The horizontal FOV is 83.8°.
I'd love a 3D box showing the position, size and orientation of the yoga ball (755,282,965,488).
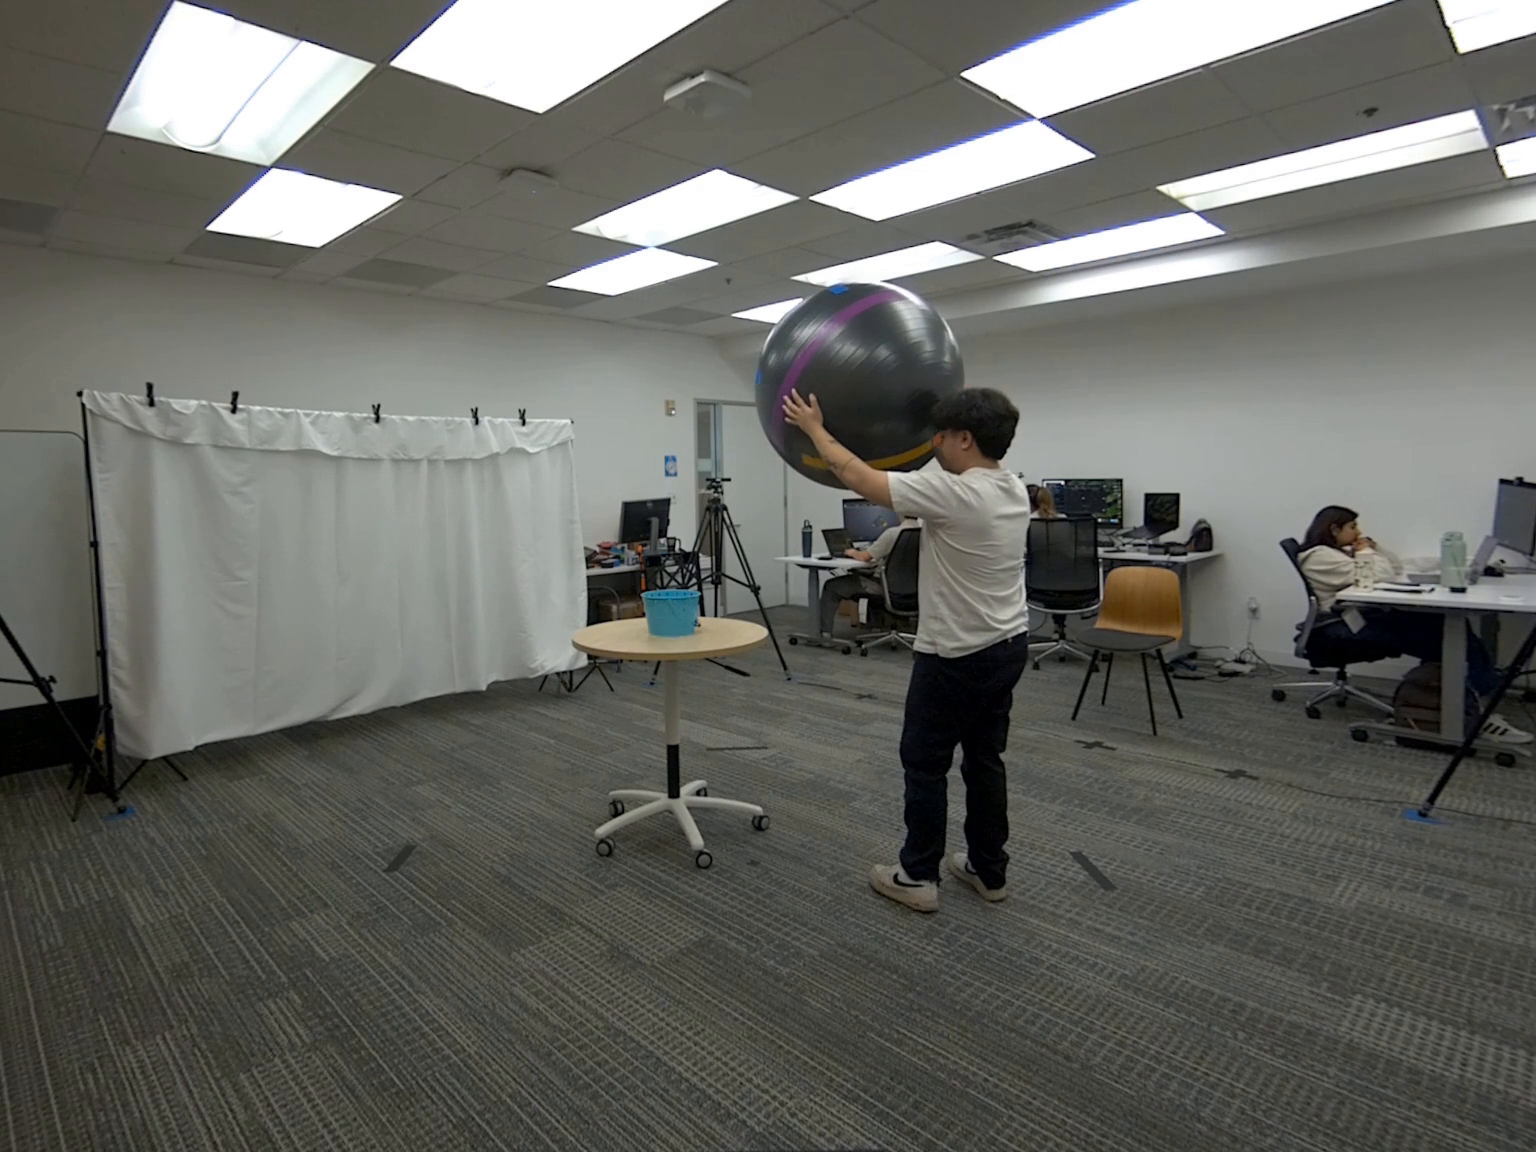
[{"bbox_3d":[0.331,-0.690,3.147,0.757,0.755,0.762,-1,5,-2],"label":"yoga ball"}]
